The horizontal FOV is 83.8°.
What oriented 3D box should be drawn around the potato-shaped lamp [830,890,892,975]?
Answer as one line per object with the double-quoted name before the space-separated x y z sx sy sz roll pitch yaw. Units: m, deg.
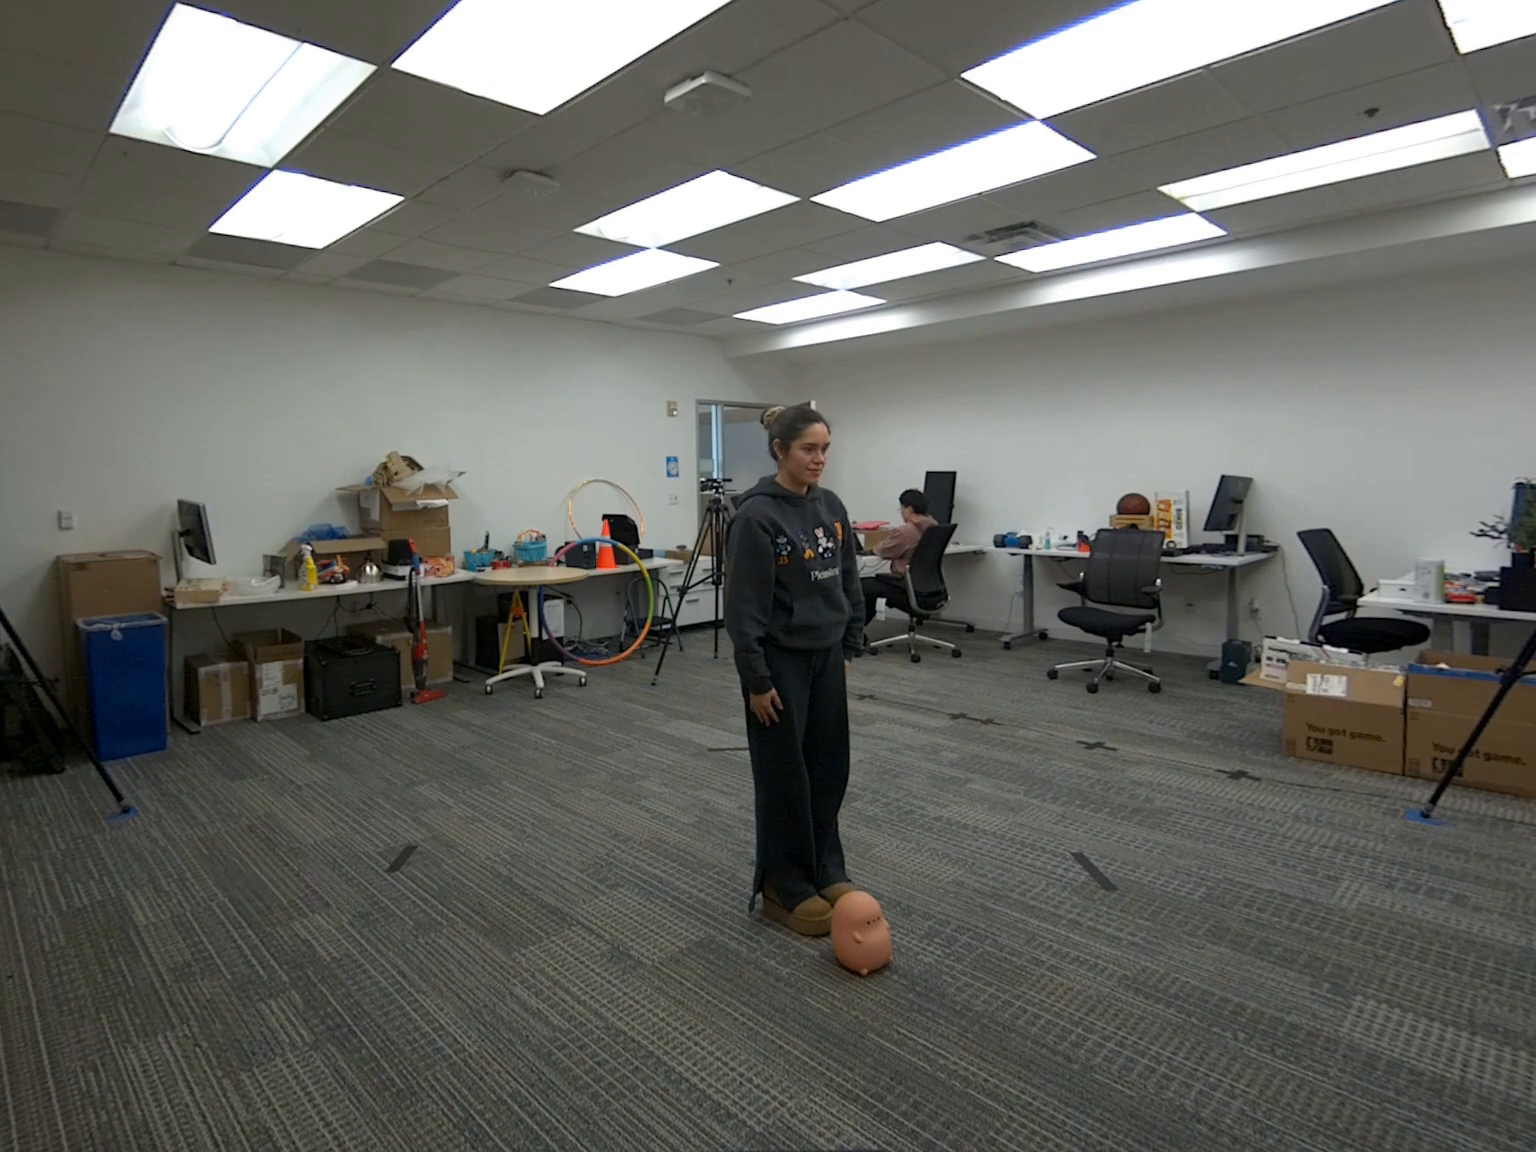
"potato-shaped lamp" 0.268 1.012 2.454 0.161 0.197 0.176 -6 5 -36
